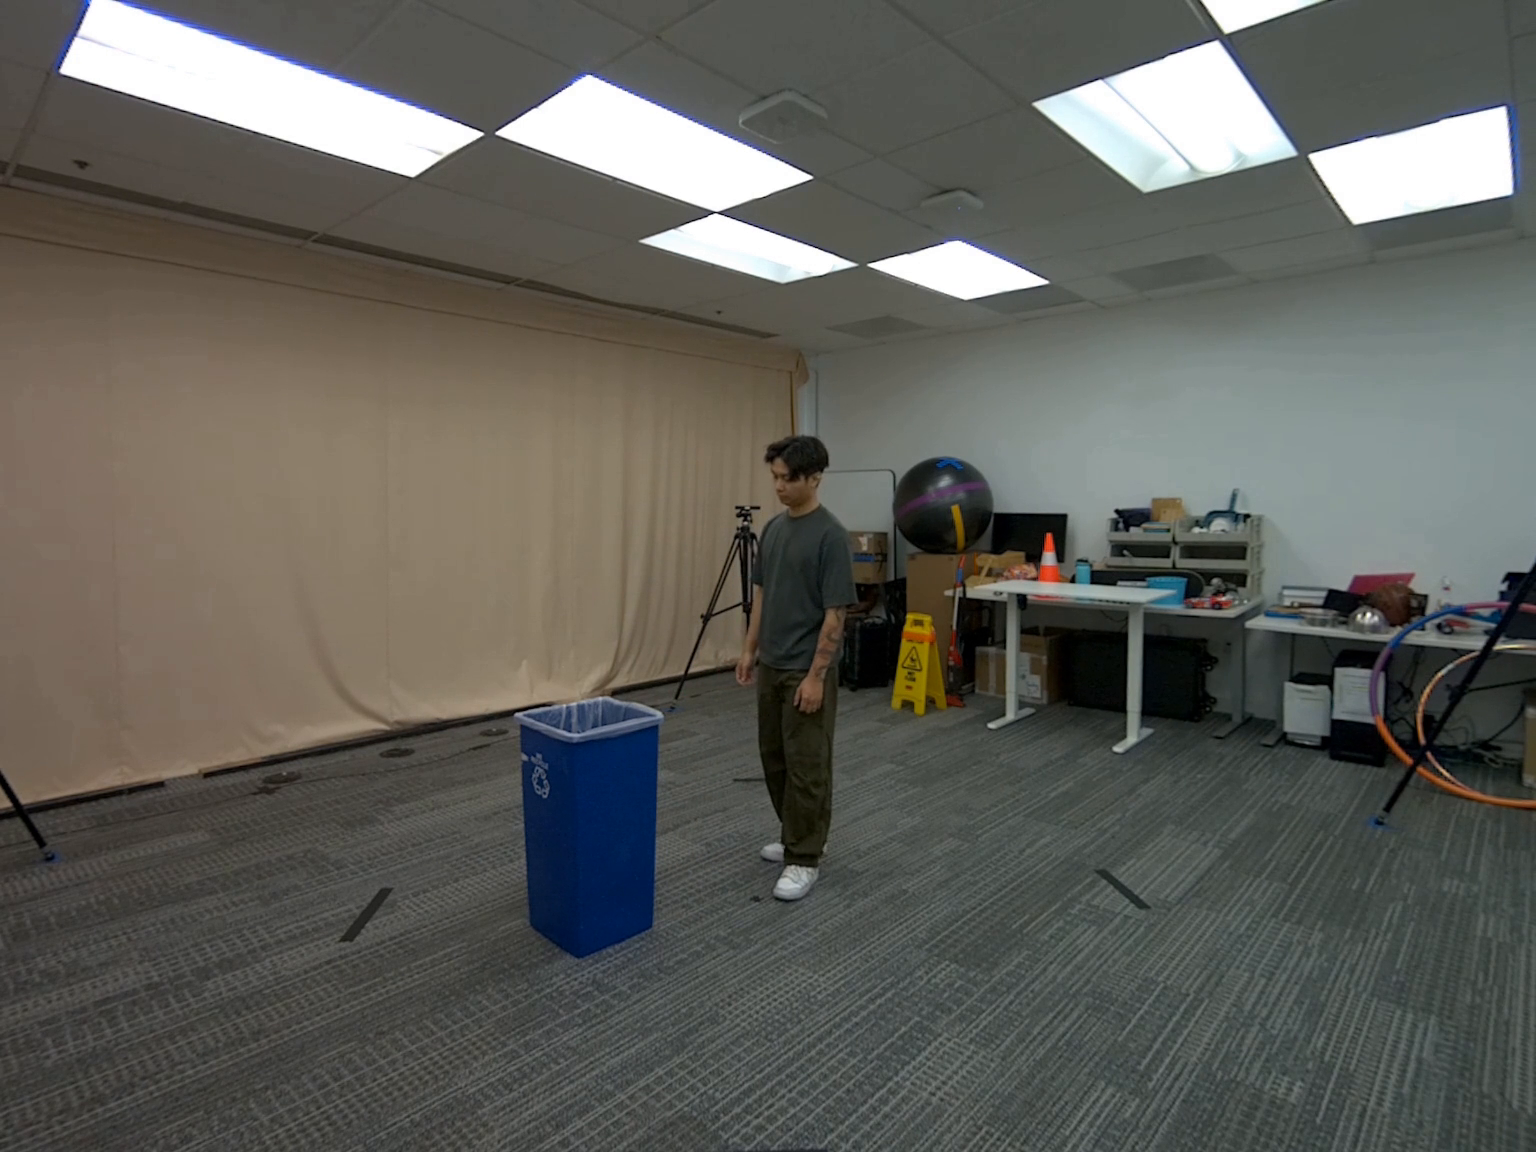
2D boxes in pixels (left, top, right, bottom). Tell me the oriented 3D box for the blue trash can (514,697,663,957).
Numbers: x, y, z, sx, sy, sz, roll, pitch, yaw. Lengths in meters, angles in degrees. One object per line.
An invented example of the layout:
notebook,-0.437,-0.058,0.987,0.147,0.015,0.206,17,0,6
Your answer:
blue trash can,-0.582,0.807,2.775,0.366,0.712,0.386,-4,5,-45
